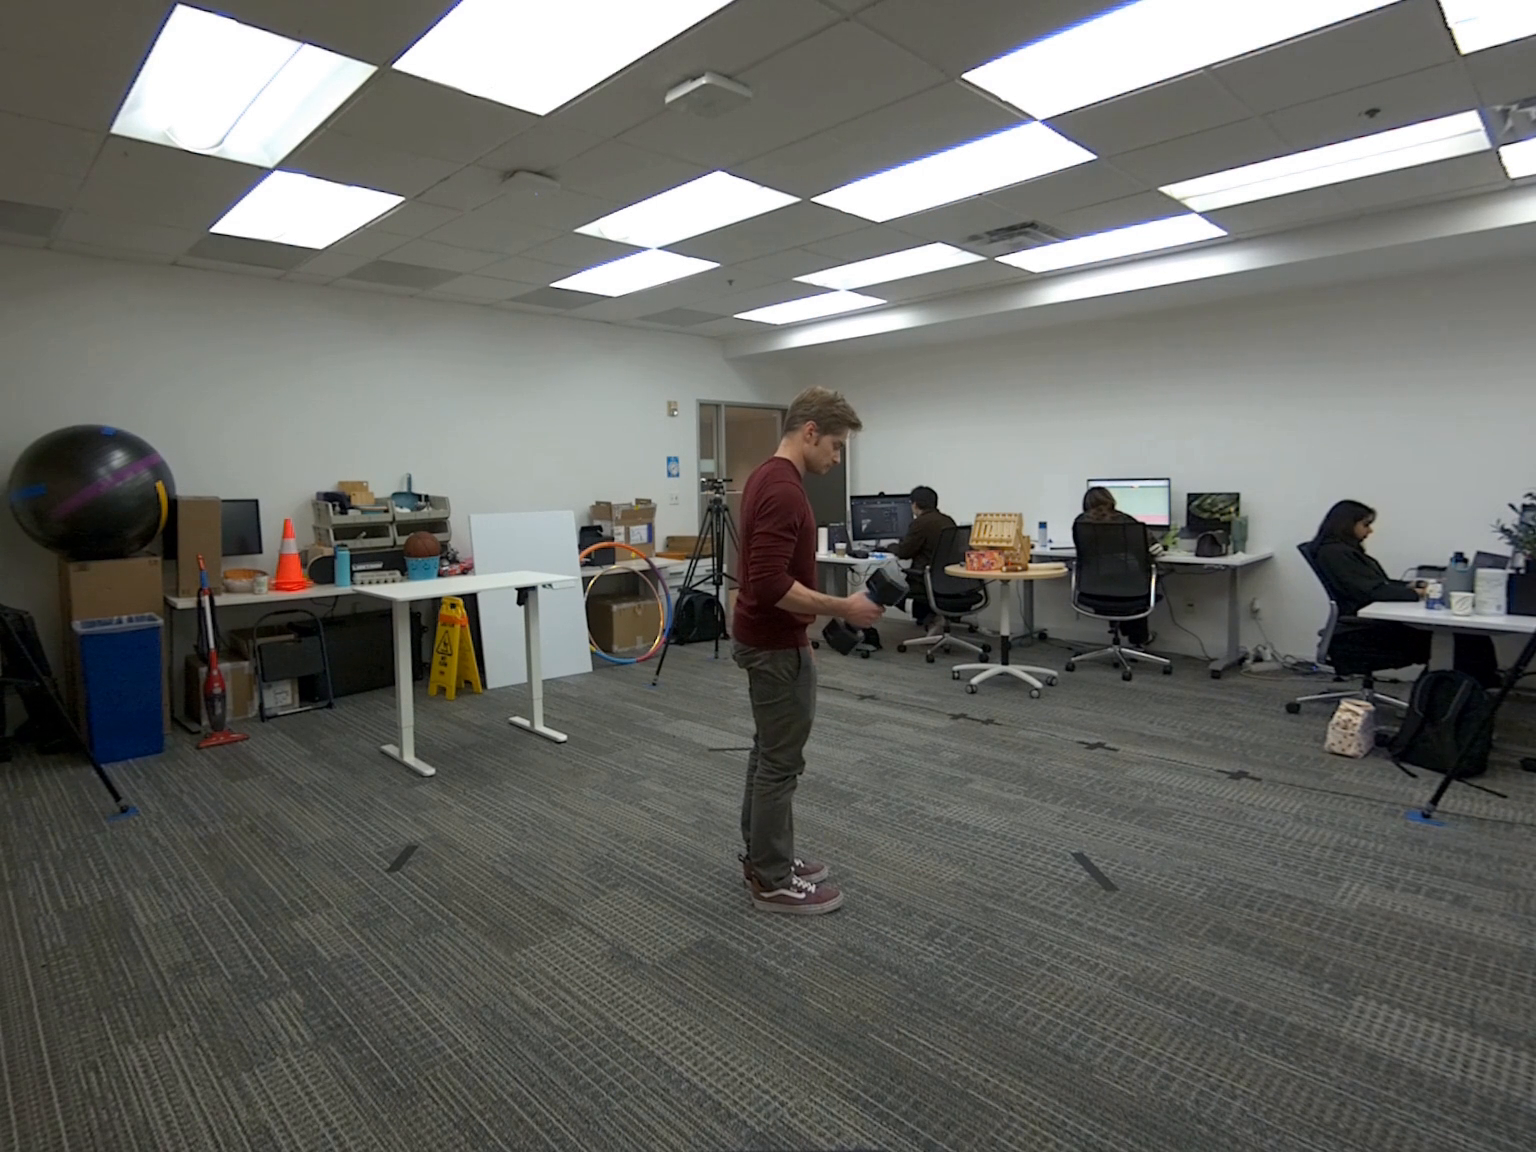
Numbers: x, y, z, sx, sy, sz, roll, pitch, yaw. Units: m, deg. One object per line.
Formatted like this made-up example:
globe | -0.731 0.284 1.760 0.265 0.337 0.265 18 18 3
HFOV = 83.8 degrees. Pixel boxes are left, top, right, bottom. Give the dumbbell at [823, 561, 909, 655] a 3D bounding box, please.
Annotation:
dumbbell | 0.295 0.111 2.598 0.122 0.293 0.110 35 21 -9
